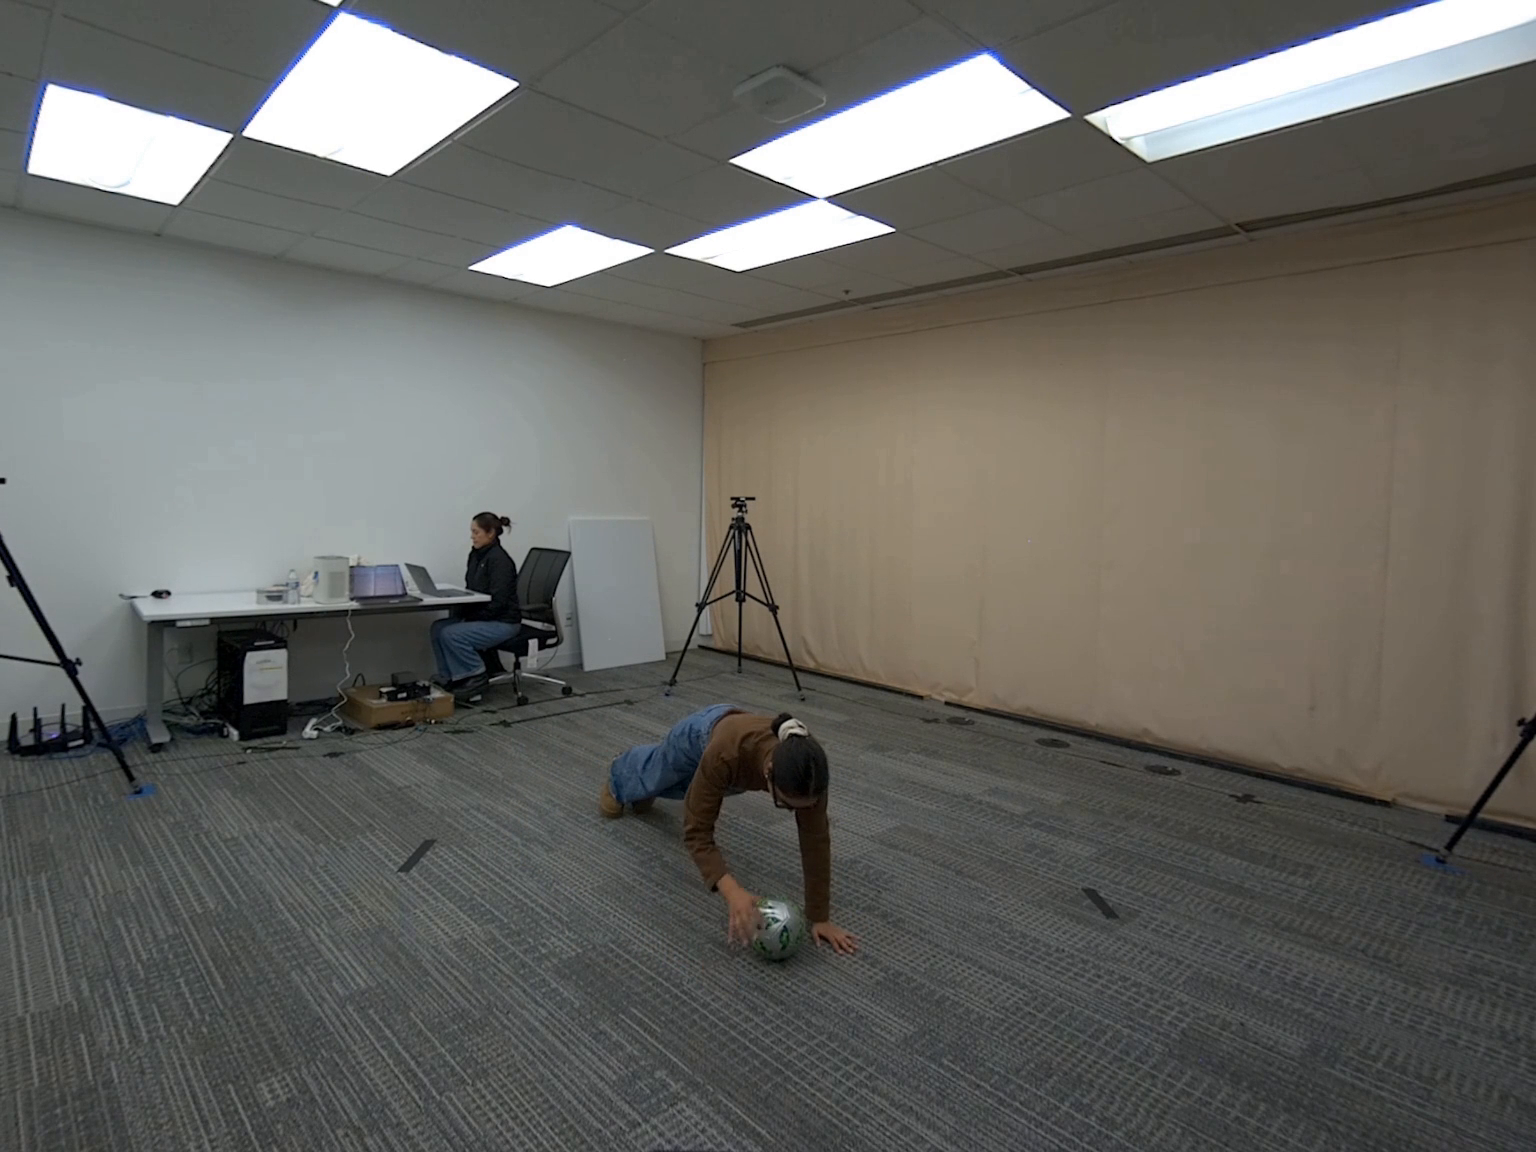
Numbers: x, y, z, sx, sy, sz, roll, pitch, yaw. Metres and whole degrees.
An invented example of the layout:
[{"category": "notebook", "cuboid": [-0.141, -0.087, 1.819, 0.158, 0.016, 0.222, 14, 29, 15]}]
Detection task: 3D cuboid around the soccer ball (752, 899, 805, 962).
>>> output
[{"category": "soccer ball", "cuboid": [0.013, 1.067, 2.562, 0.187, 0.187, 0.188, 1, 4, -1]}]
